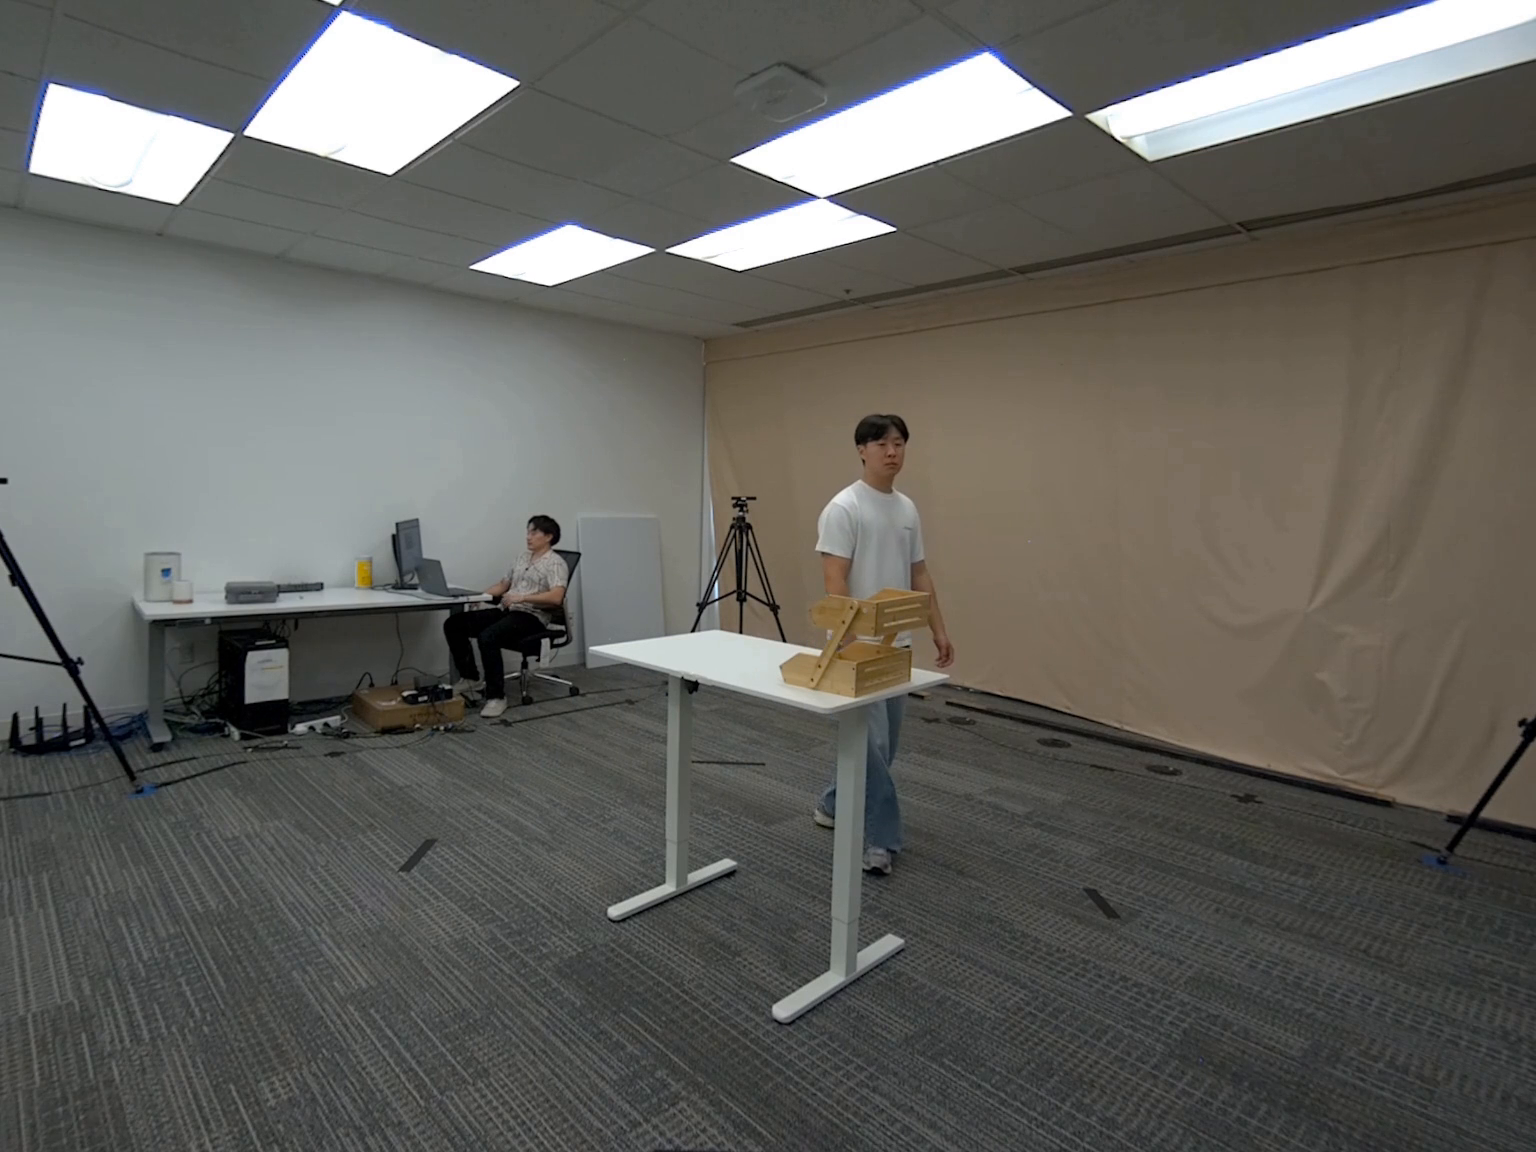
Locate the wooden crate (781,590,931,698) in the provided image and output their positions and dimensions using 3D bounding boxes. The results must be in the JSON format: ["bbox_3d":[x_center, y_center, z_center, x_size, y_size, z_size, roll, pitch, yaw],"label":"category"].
[{"bbox_3d":[0.242,0.172,2.366,0.310,0.272,0.317,6,6,38],"label":"wooden crate"}]
